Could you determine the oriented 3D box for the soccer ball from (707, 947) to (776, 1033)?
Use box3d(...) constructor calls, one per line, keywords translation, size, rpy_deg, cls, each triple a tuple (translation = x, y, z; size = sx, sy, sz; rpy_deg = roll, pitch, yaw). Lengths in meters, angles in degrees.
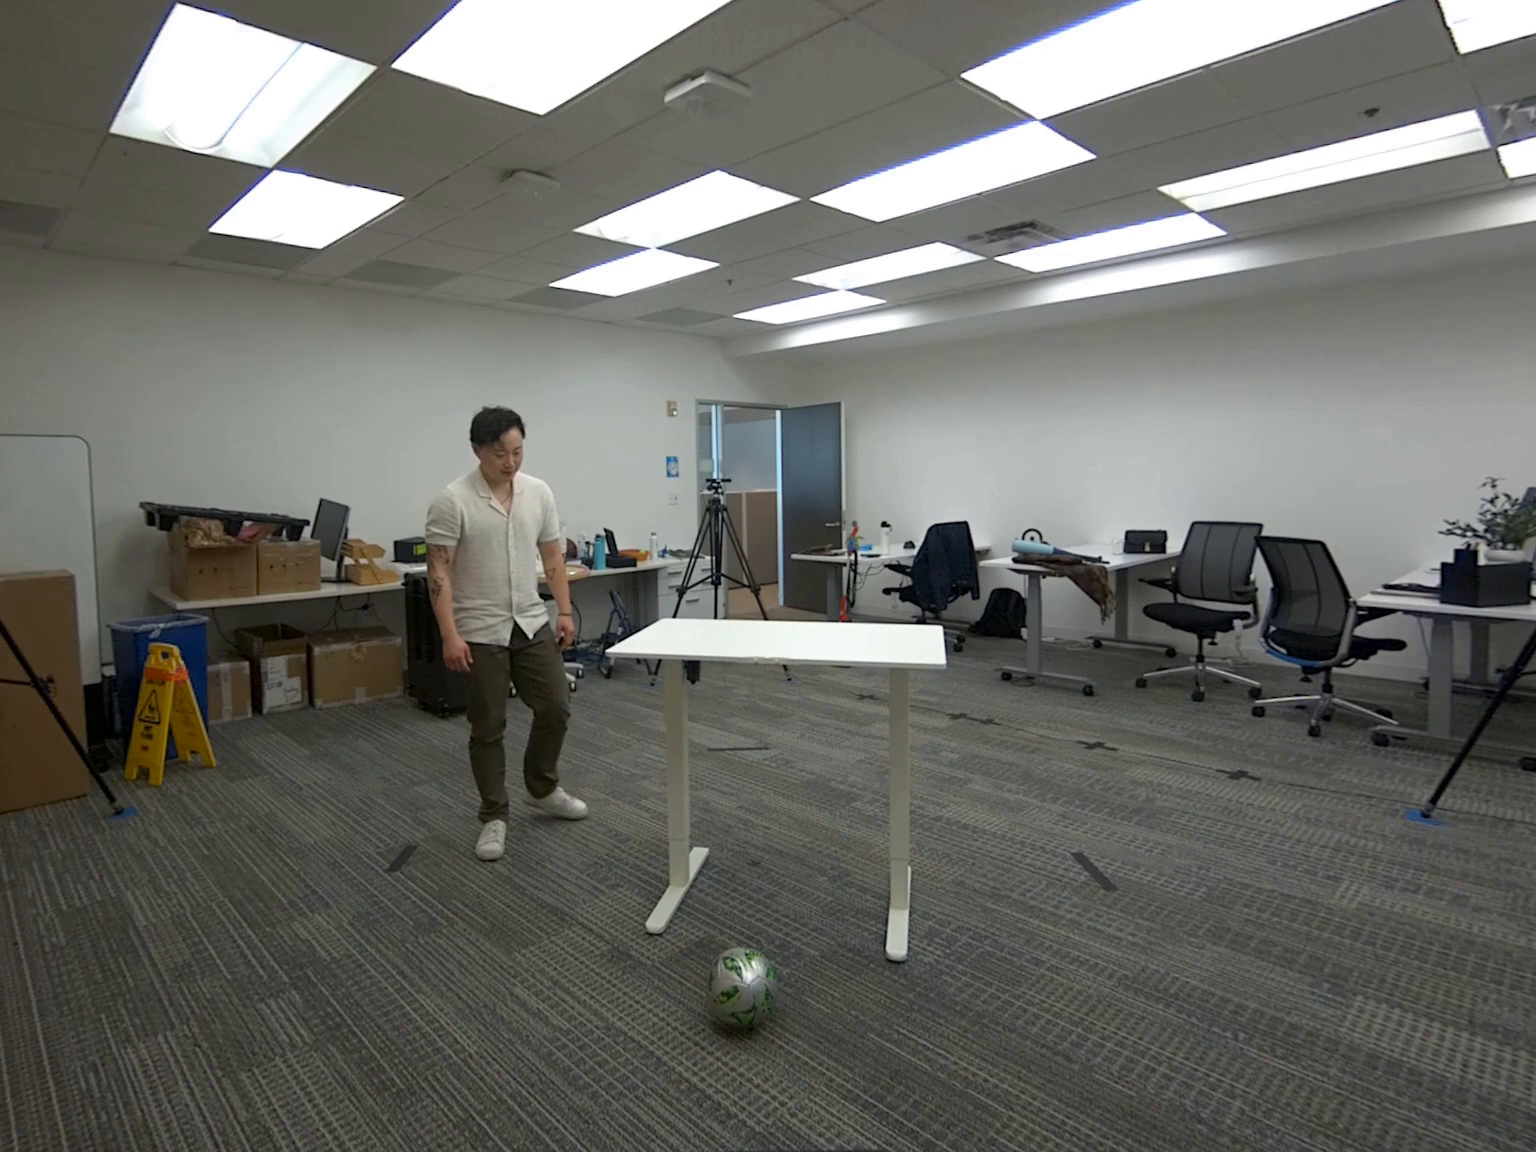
box3d(translation=(-0.063, 1.061, 2.196), size=(0.187, 0.187, 0.188), rpy_deg=(-1, 5, -2), cls="soccer ball")
